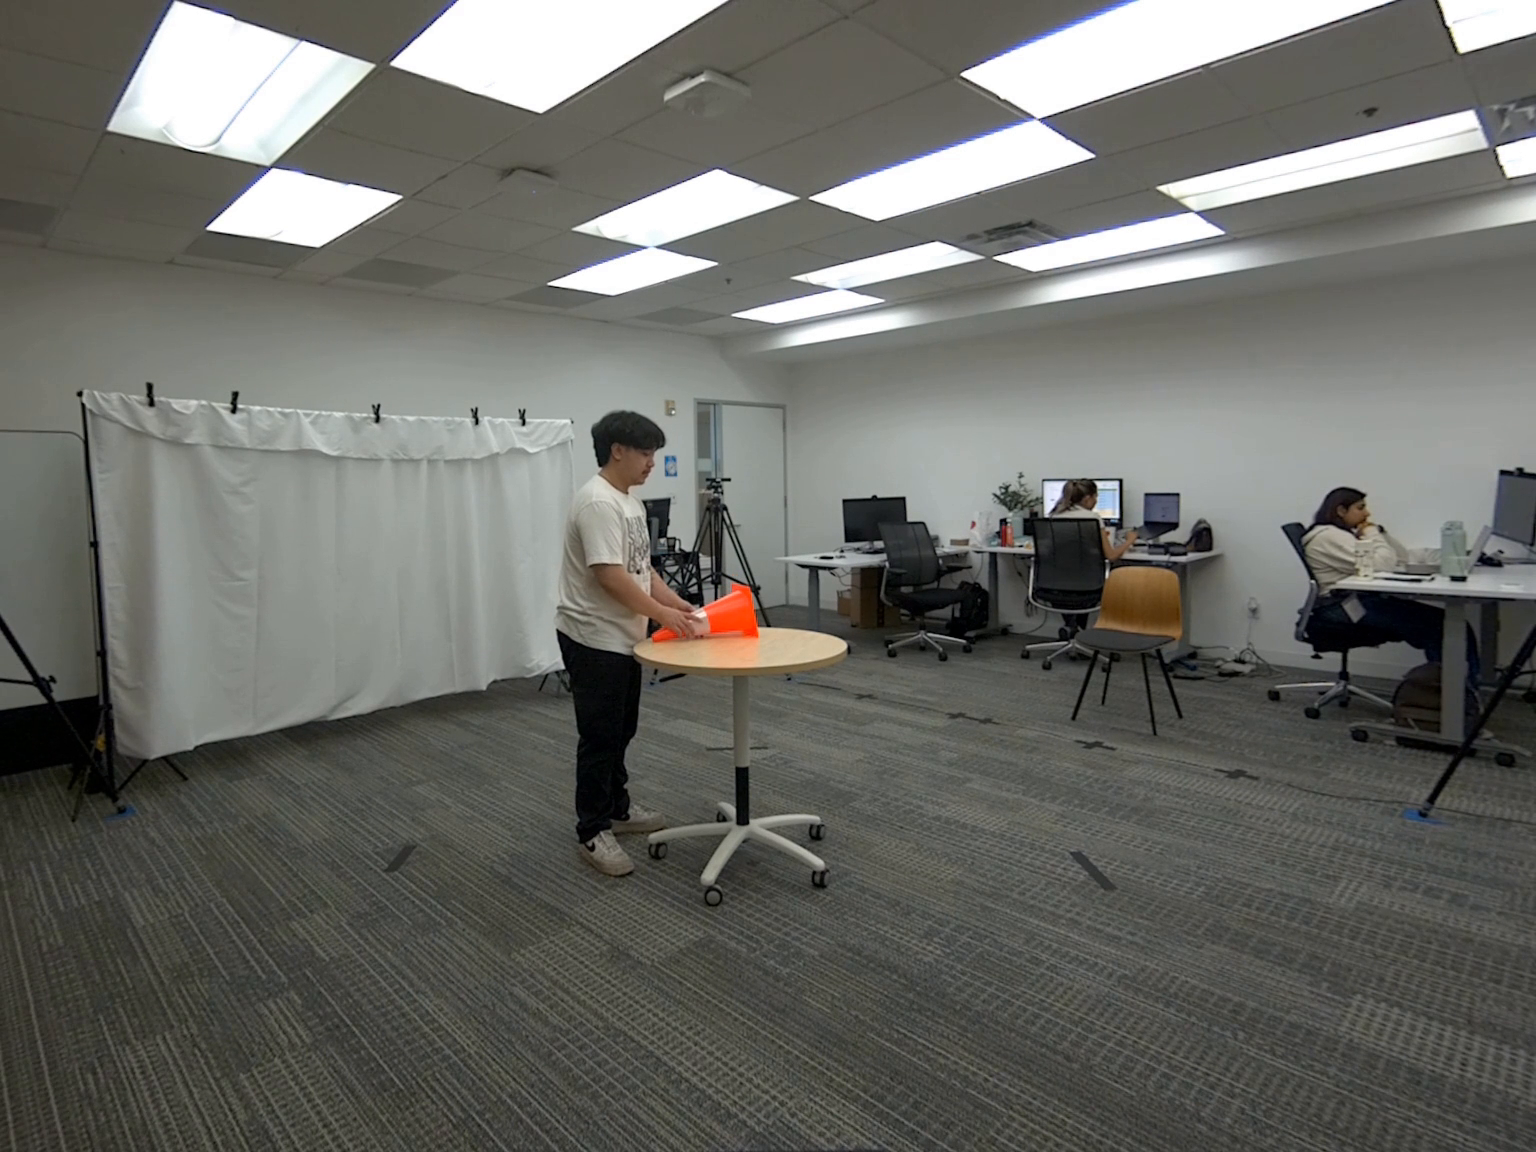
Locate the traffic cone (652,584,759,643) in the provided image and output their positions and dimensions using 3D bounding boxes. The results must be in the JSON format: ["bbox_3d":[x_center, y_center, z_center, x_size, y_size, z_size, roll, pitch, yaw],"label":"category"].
[{"bbox_3d":[-0.259,0.185,3.215,0.379,0.201,0.210,-17,12,-17],"label":"traffic cone"}]
